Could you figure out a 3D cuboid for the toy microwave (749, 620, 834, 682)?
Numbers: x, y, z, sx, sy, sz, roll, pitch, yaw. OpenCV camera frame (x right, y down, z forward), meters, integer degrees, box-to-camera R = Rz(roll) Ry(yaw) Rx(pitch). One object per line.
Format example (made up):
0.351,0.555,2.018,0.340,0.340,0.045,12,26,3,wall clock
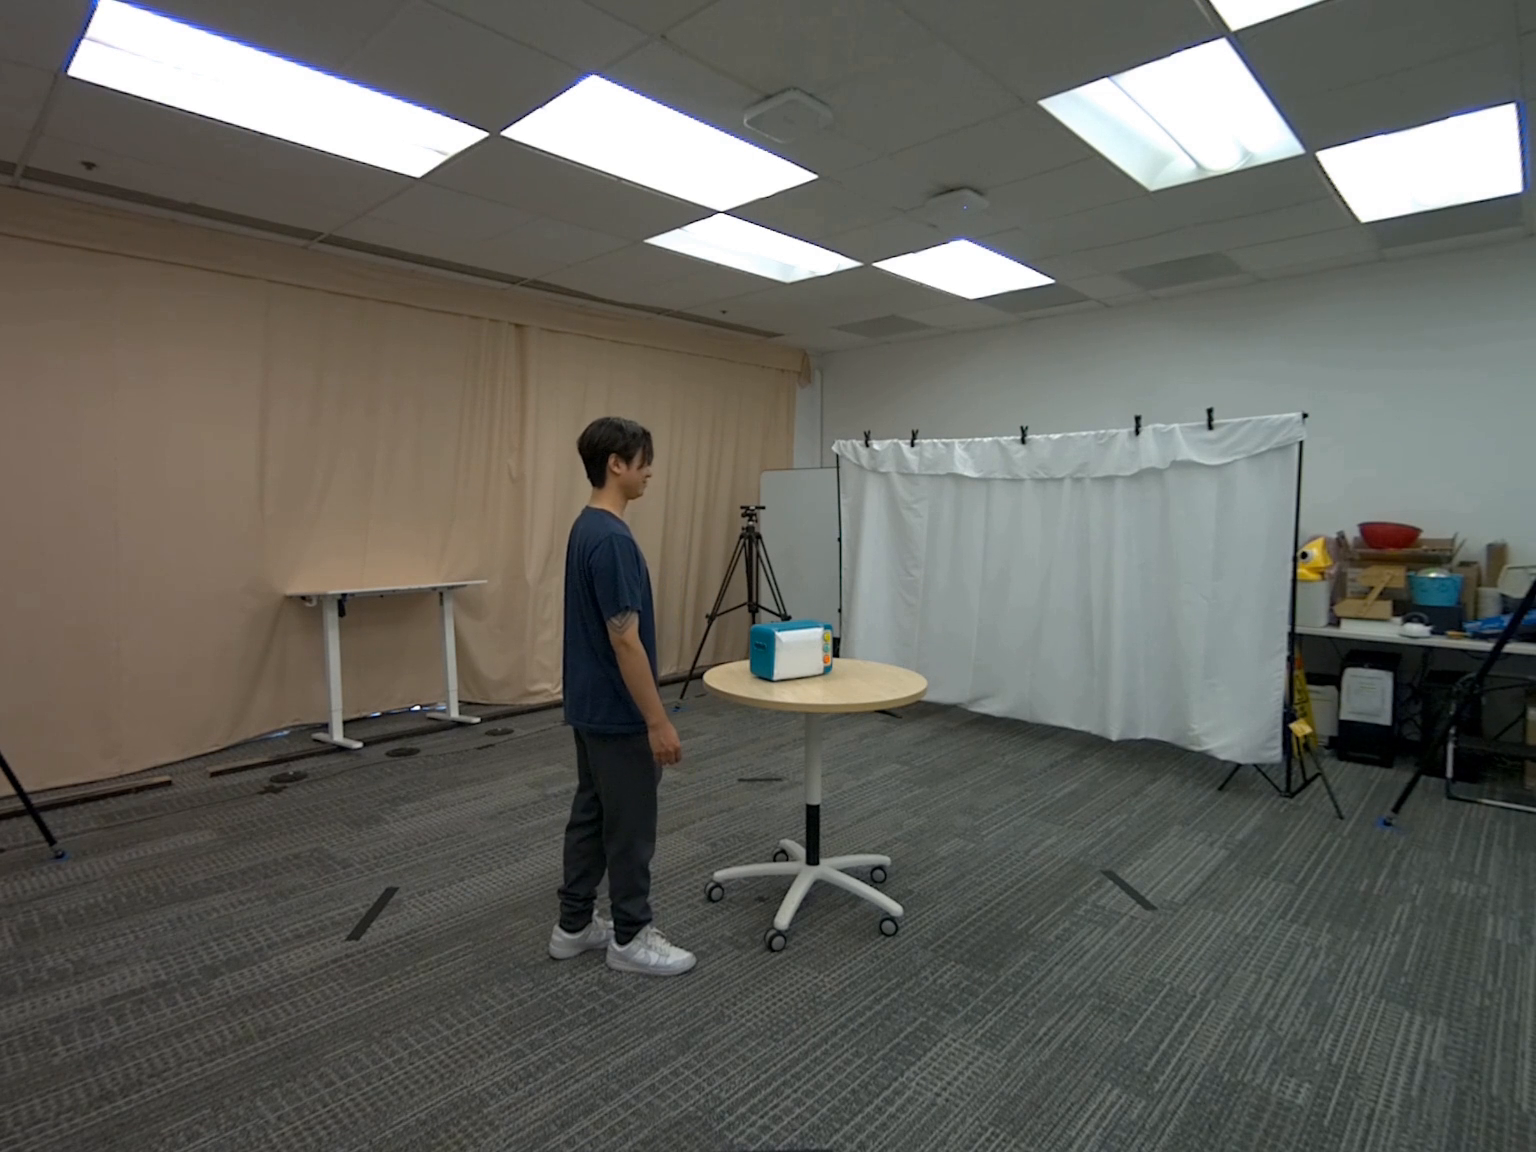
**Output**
0.091,0.258,2.930,0.278,0.184,0.157,-2,4,-34,toy microwave
